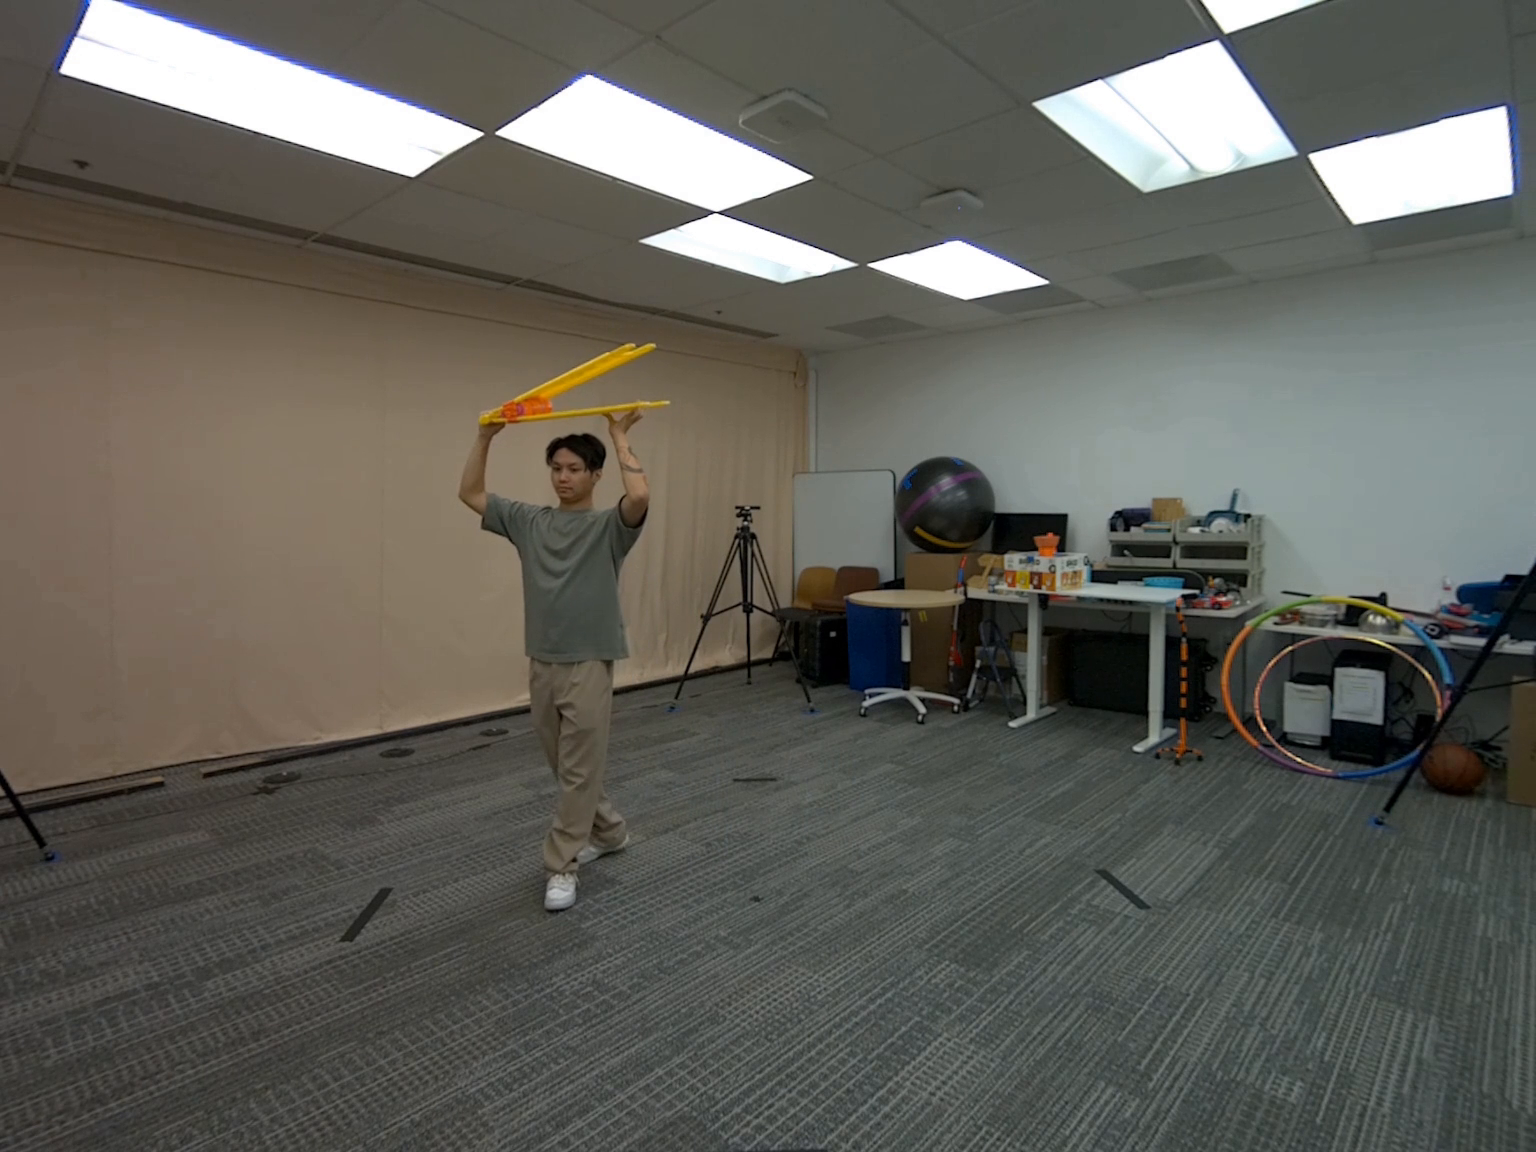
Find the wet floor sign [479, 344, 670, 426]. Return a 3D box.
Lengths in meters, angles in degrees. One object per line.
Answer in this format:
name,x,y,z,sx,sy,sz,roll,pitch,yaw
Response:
wet floor sign,-0.718,-0.639,3.018,0.657,0.287,0.280,-9,11,17
